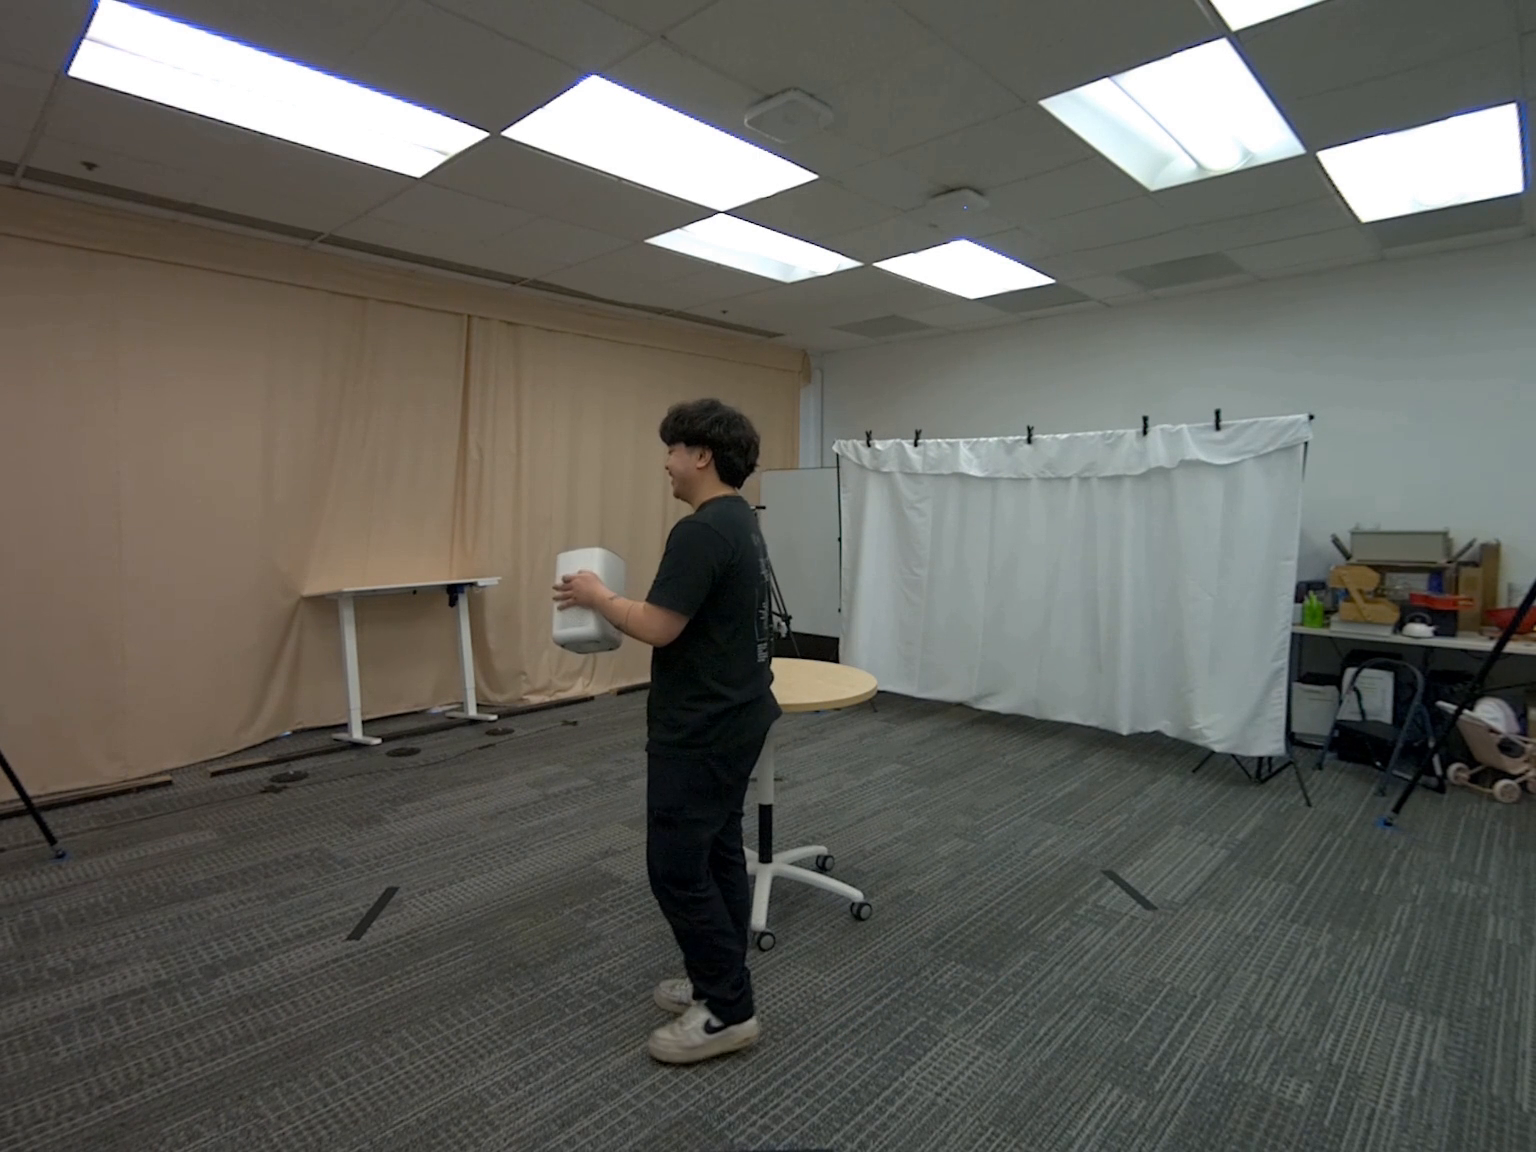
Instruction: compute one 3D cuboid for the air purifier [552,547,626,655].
[{"bbox_3d":[-0.500,0.075,2.385,0.174,0.269,0.166,-7,-22,16],"label":"air purifier"}]
